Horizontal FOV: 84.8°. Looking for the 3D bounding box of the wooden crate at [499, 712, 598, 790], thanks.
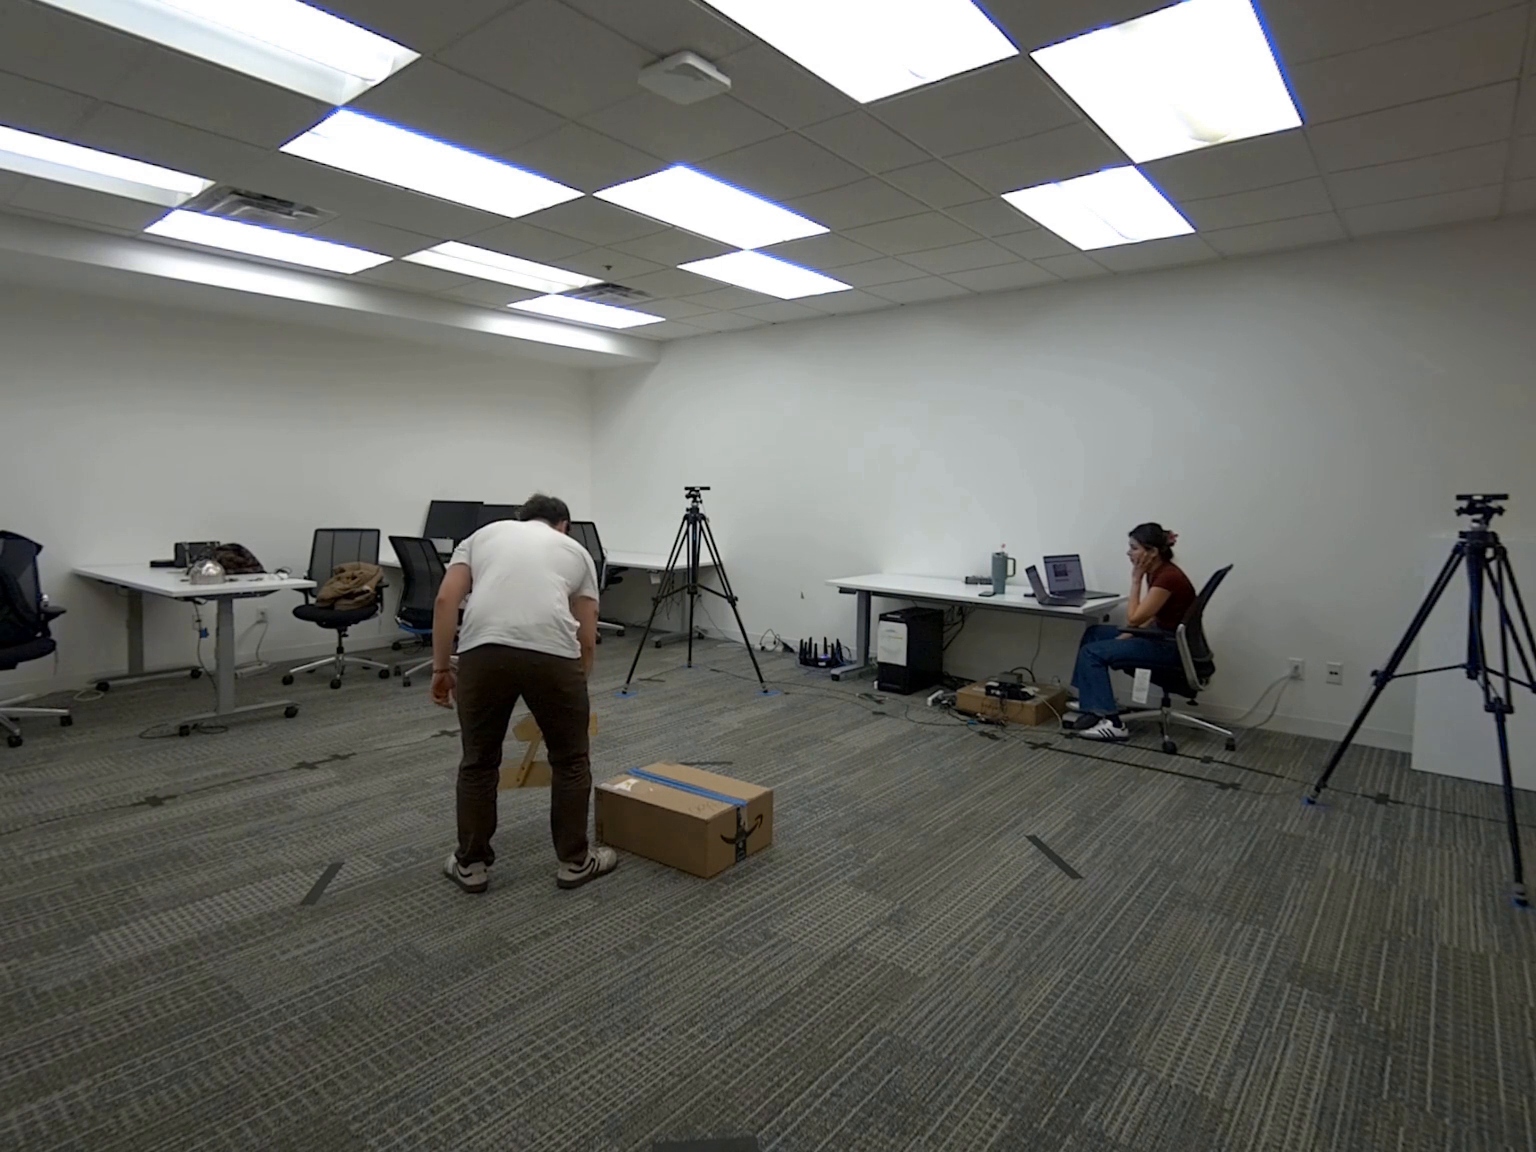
[{"bbox_3d":[-0.880,0.660,3.297,0.306,0.276,0.316,-6,-10,15],"label":"wooden crate"}]
